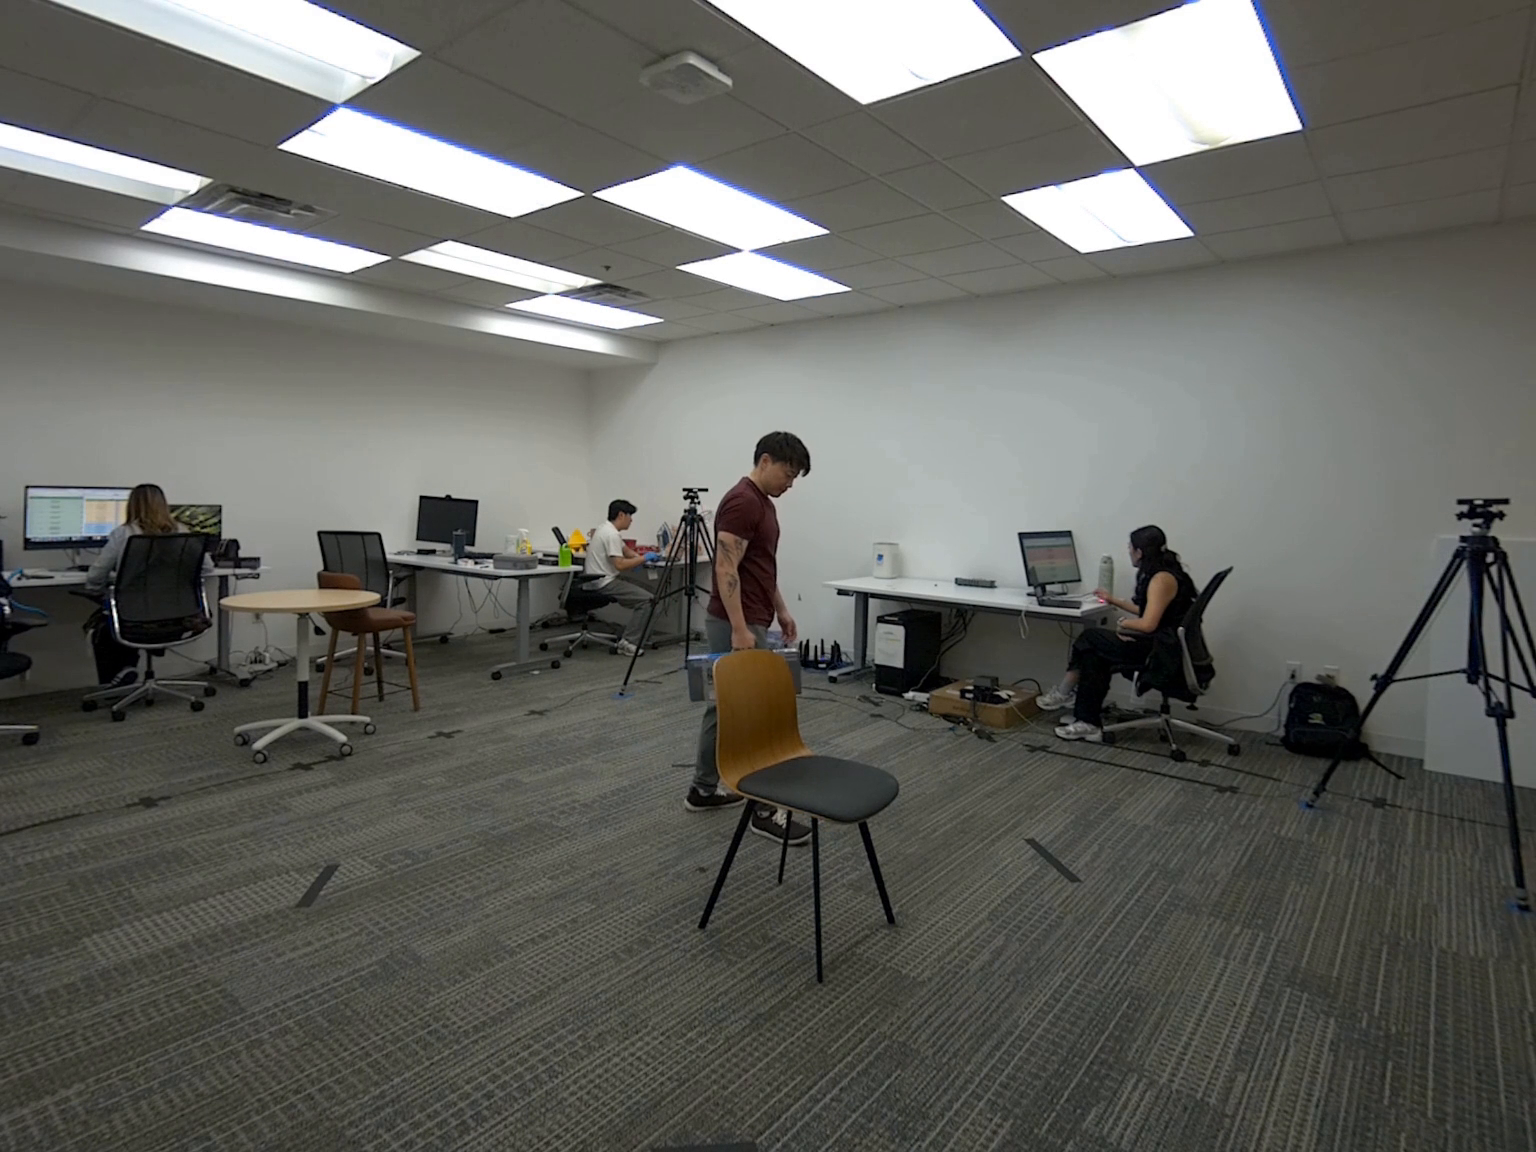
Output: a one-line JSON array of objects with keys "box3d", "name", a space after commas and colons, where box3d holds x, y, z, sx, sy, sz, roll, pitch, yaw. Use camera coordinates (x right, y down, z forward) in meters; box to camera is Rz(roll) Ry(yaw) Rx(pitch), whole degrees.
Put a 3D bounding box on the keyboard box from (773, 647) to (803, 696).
[{"box3d": [-0.091, 0.376, 3.314, 0.437, 0.175, 0.059, -3, 6, 0], "name": "keyboard box"}]
